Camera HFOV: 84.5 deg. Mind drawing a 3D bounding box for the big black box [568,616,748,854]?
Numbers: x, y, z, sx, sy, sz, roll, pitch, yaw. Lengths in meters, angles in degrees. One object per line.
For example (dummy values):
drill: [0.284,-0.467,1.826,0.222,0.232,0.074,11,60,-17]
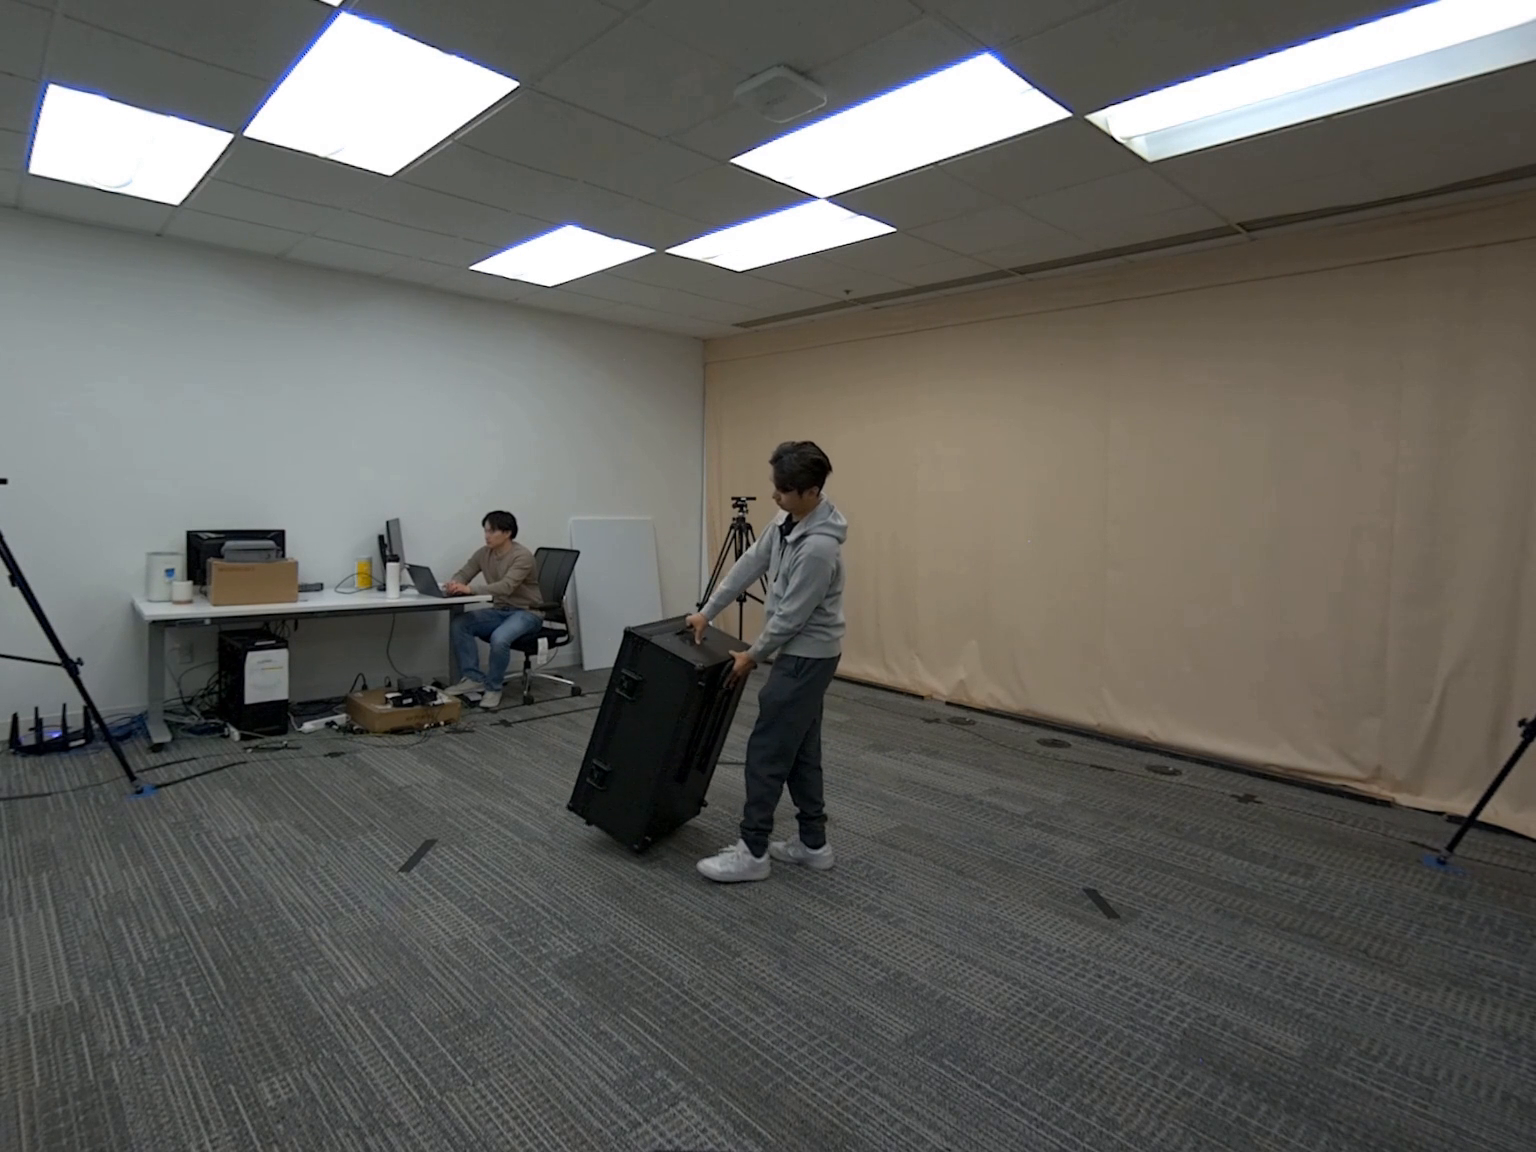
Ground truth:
big black box: [-0.422,0.636,3.373,0.405,0.857,0.512,24,13,22]
